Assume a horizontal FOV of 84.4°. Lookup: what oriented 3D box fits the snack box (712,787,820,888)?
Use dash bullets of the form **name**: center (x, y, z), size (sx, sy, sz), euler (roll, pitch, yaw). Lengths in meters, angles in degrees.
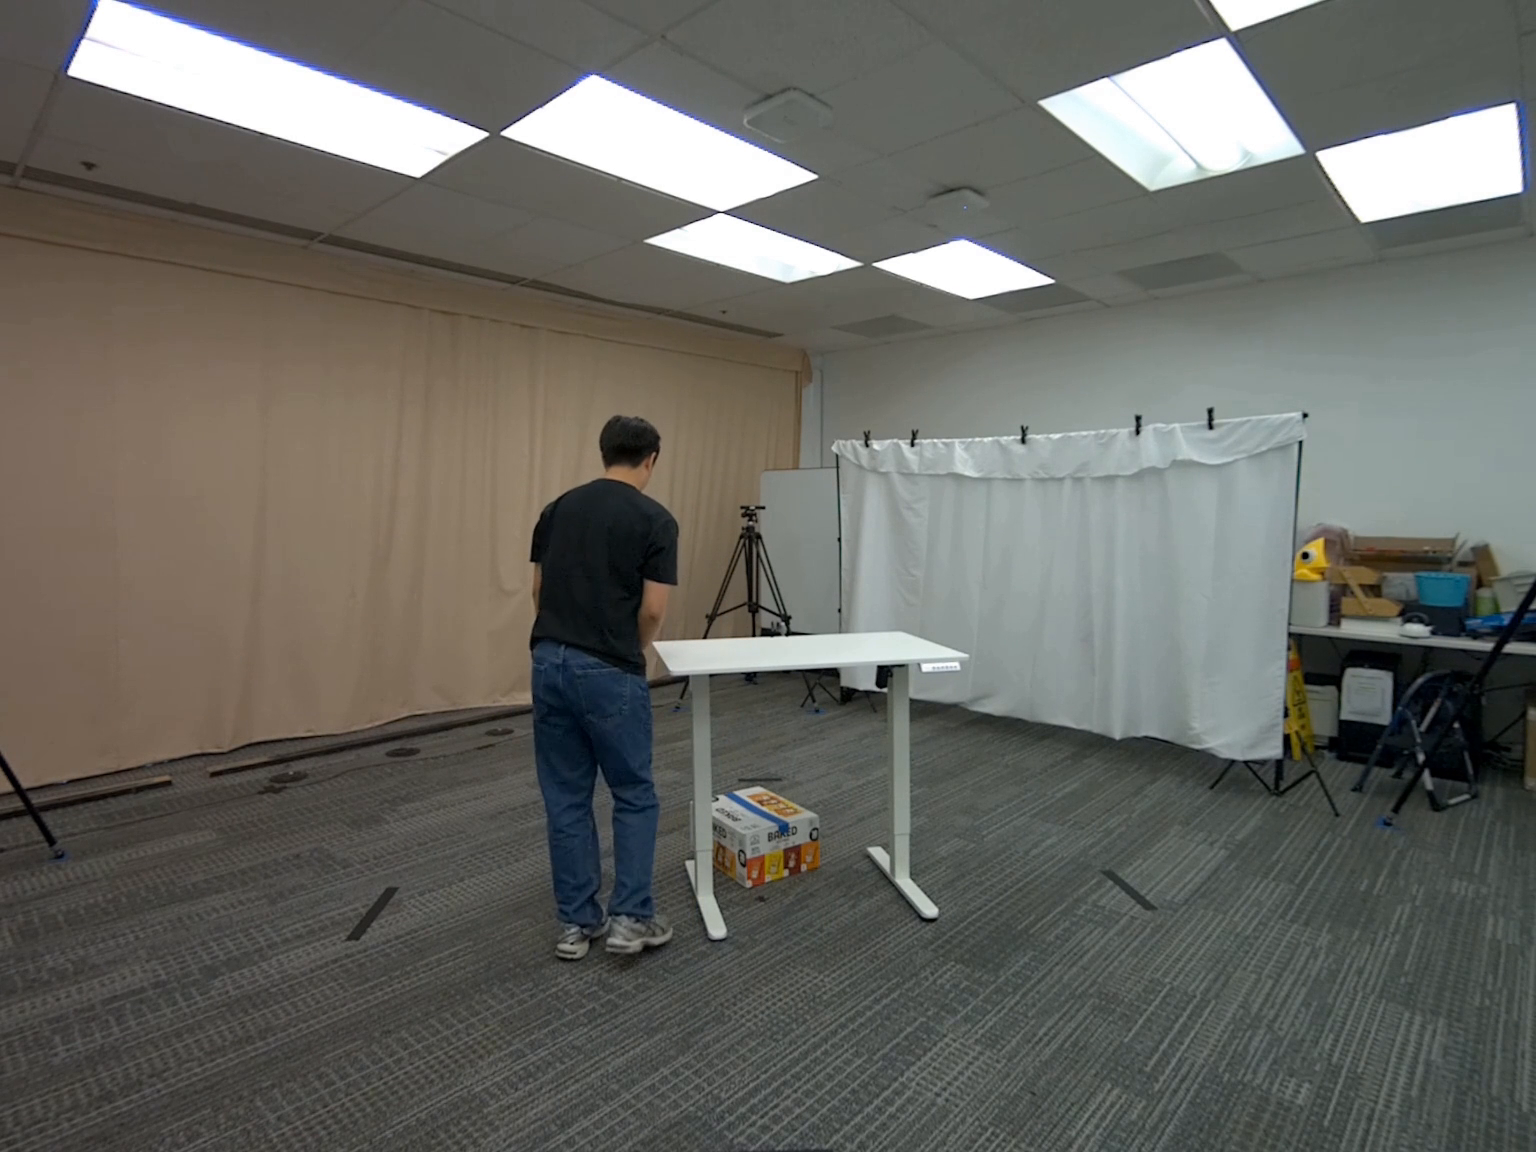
- **snack box**: center (-0.058, 1.015, 3.313), size (0.331, 0.205, 0.418), euler (-3, 6, -33)
